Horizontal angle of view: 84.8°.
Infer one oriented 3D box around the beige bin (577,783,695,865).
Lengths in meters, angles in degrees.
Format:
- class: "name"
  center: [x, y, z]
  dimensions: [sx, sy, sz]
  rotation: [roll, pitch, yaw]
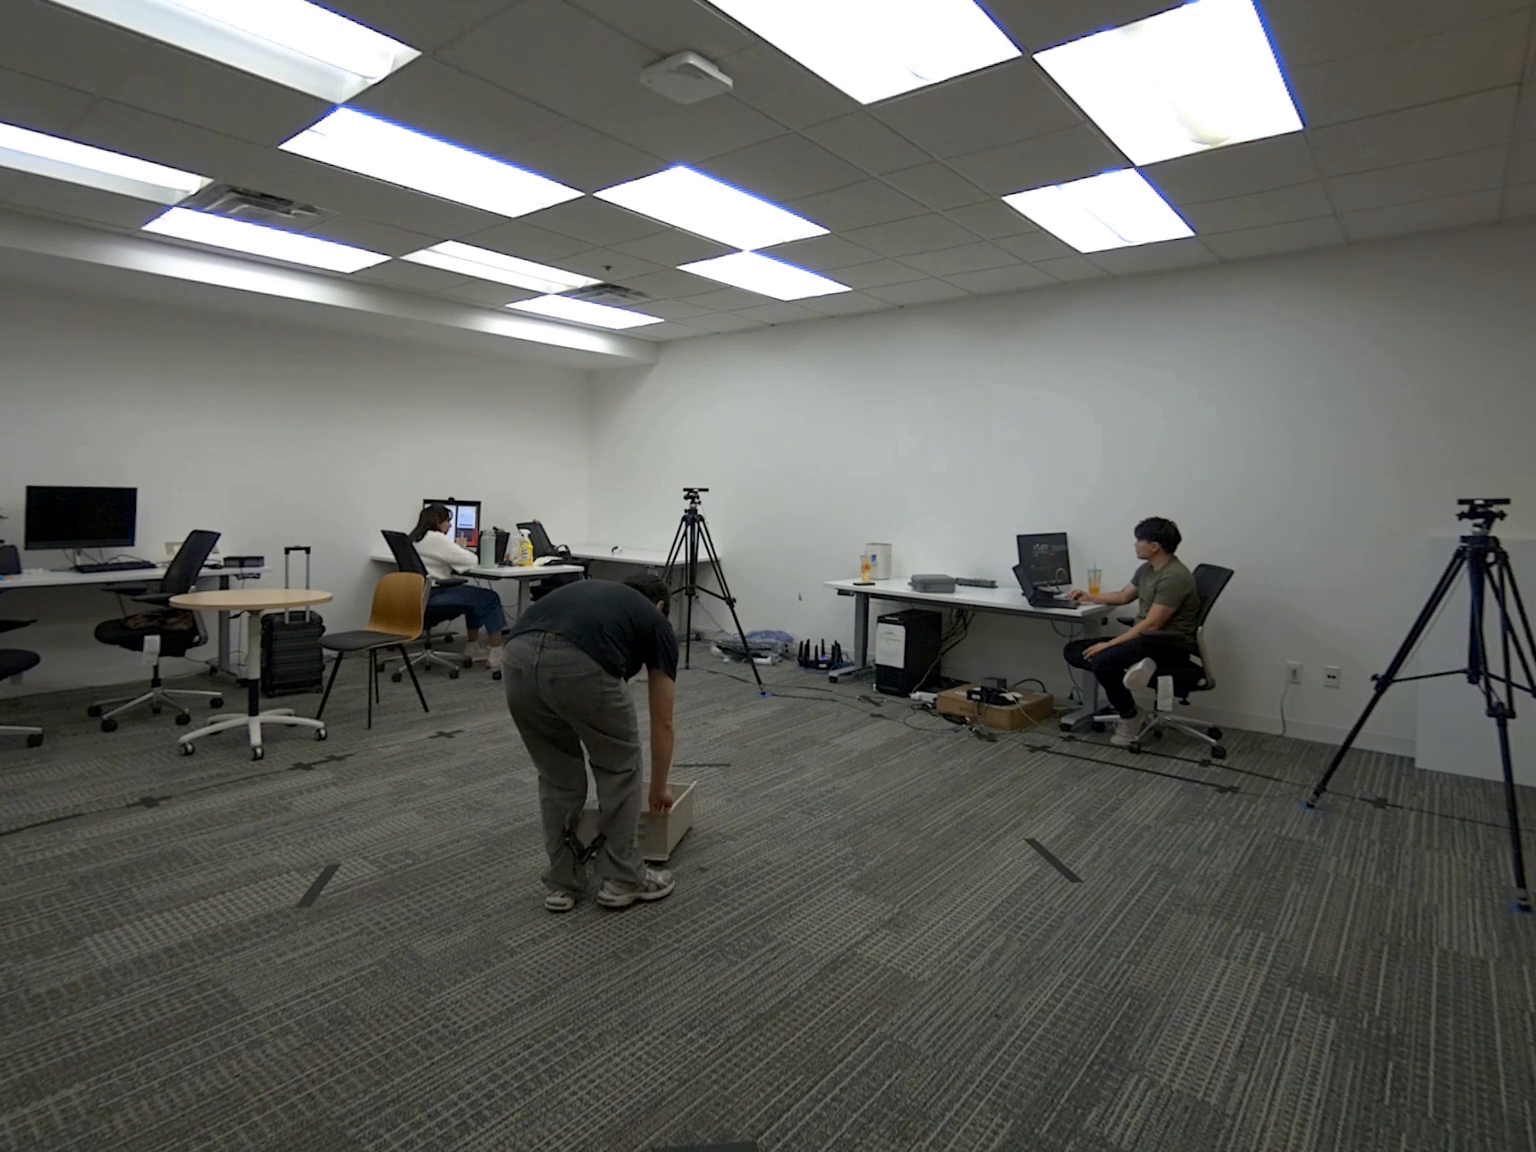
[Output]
- class: "beige bin"
  center: [-0.525, 0.939, 3.338]
  dimensions: [0.382, 0.189, 0.418]
  rotation: [2, 2, 10]
